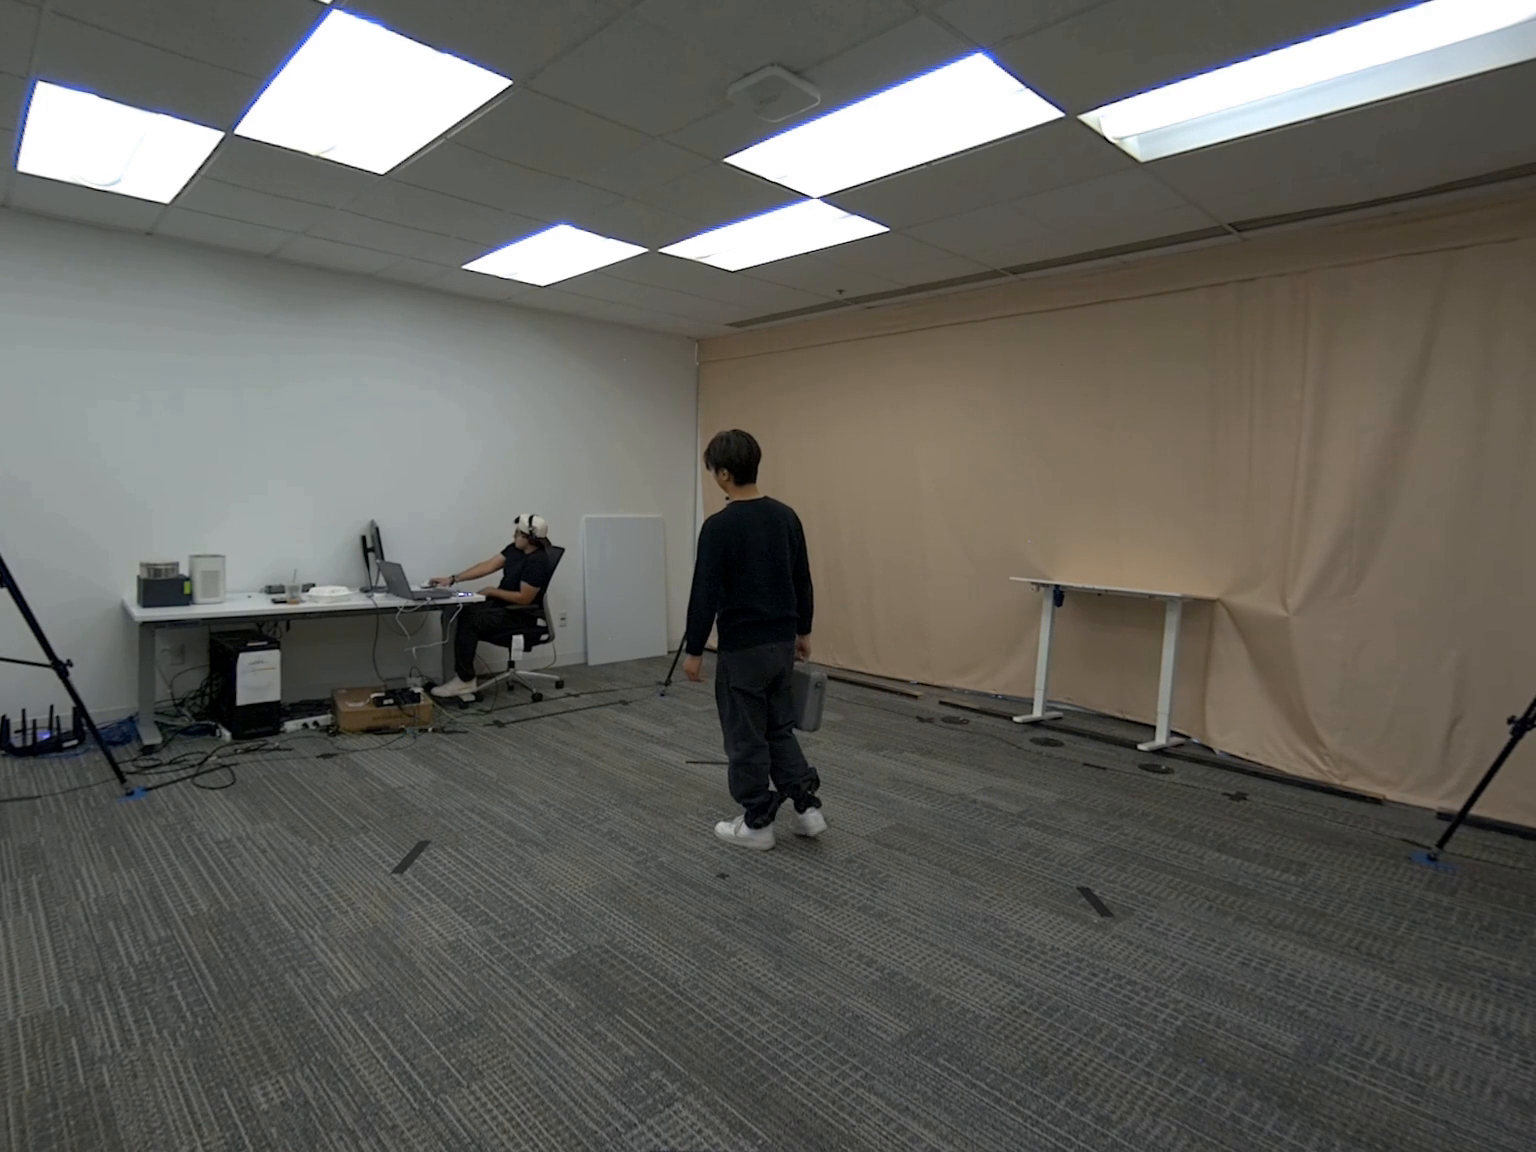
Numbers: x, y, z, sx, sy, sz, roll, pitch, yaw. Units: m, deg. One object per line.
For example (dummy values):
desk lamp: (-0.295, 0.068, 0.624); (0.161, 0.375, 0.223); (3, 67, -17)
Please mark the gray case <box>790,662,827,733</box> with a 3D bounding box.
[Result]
gray case: (0.117, 0.500, 3.568); (0.102, 0.260, 0.263); (6, 2, -38)
